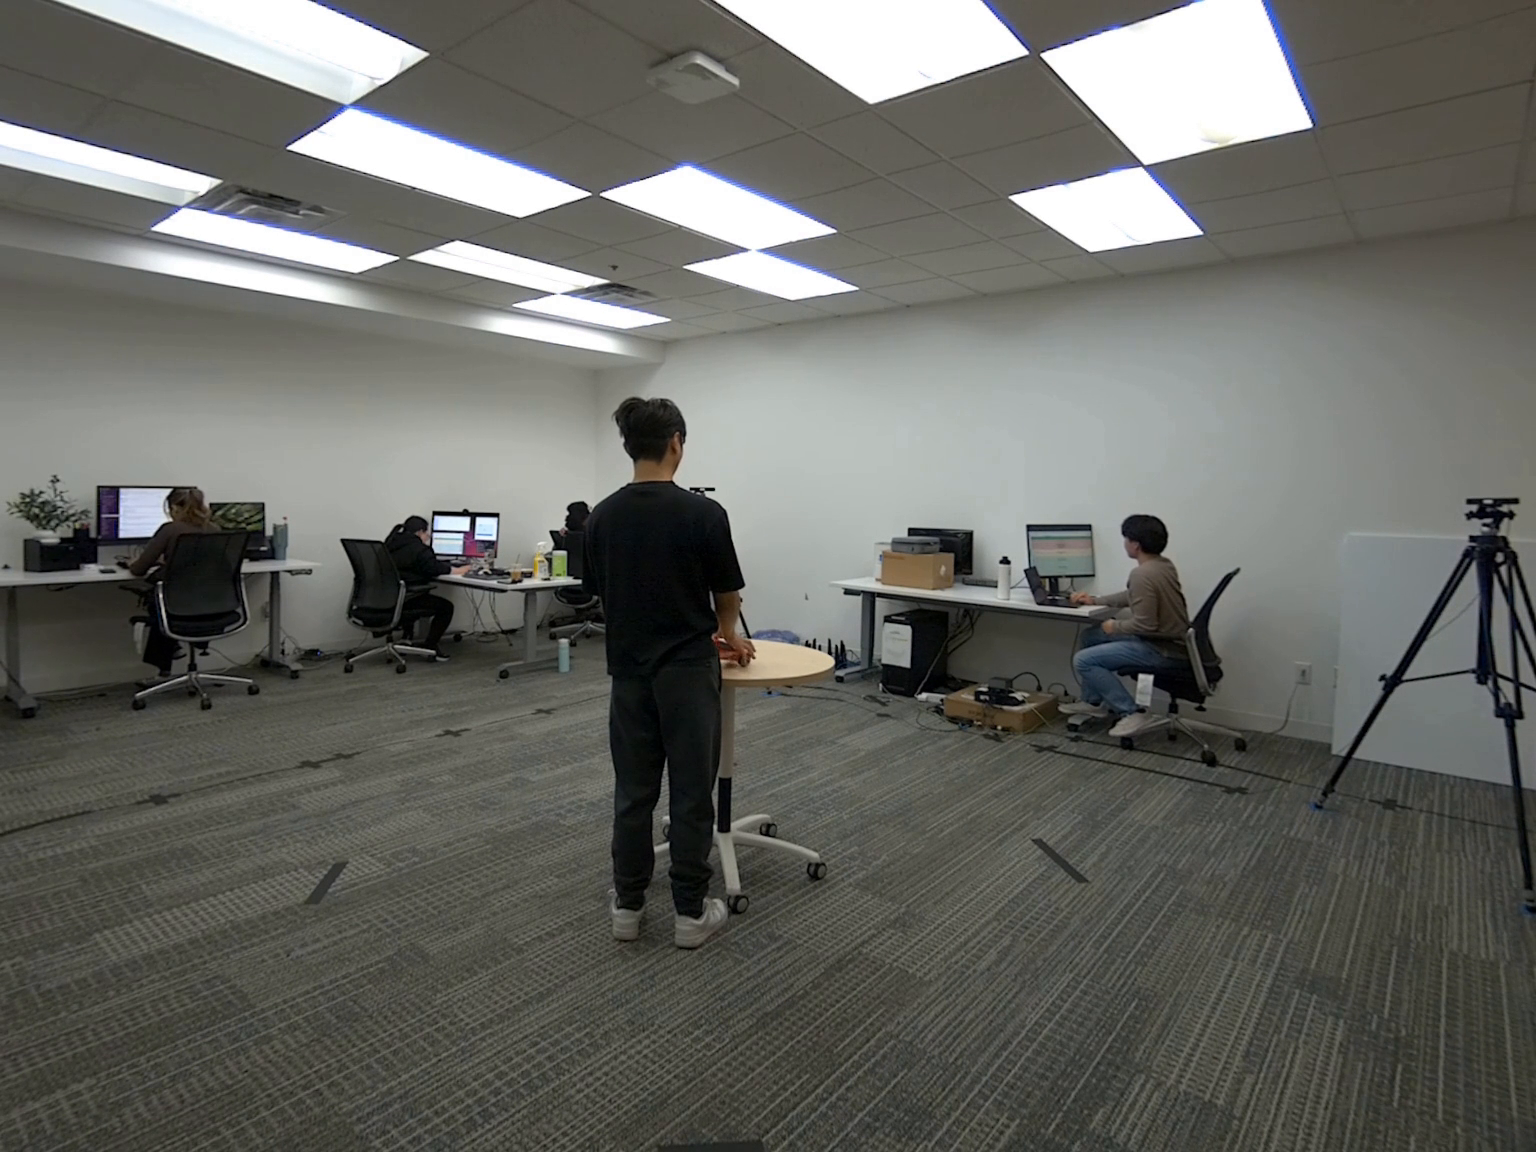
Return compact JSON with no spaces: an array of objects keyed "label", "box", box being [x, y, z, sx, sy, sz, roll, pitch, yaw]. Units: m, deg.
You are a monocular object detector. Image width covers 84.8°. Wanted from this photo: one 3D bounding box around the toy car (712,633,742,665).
[{"label":"toy car","box":[-0.194,0.257,2.893,0.246,0.083,0.134,20,-4,-30]}]
